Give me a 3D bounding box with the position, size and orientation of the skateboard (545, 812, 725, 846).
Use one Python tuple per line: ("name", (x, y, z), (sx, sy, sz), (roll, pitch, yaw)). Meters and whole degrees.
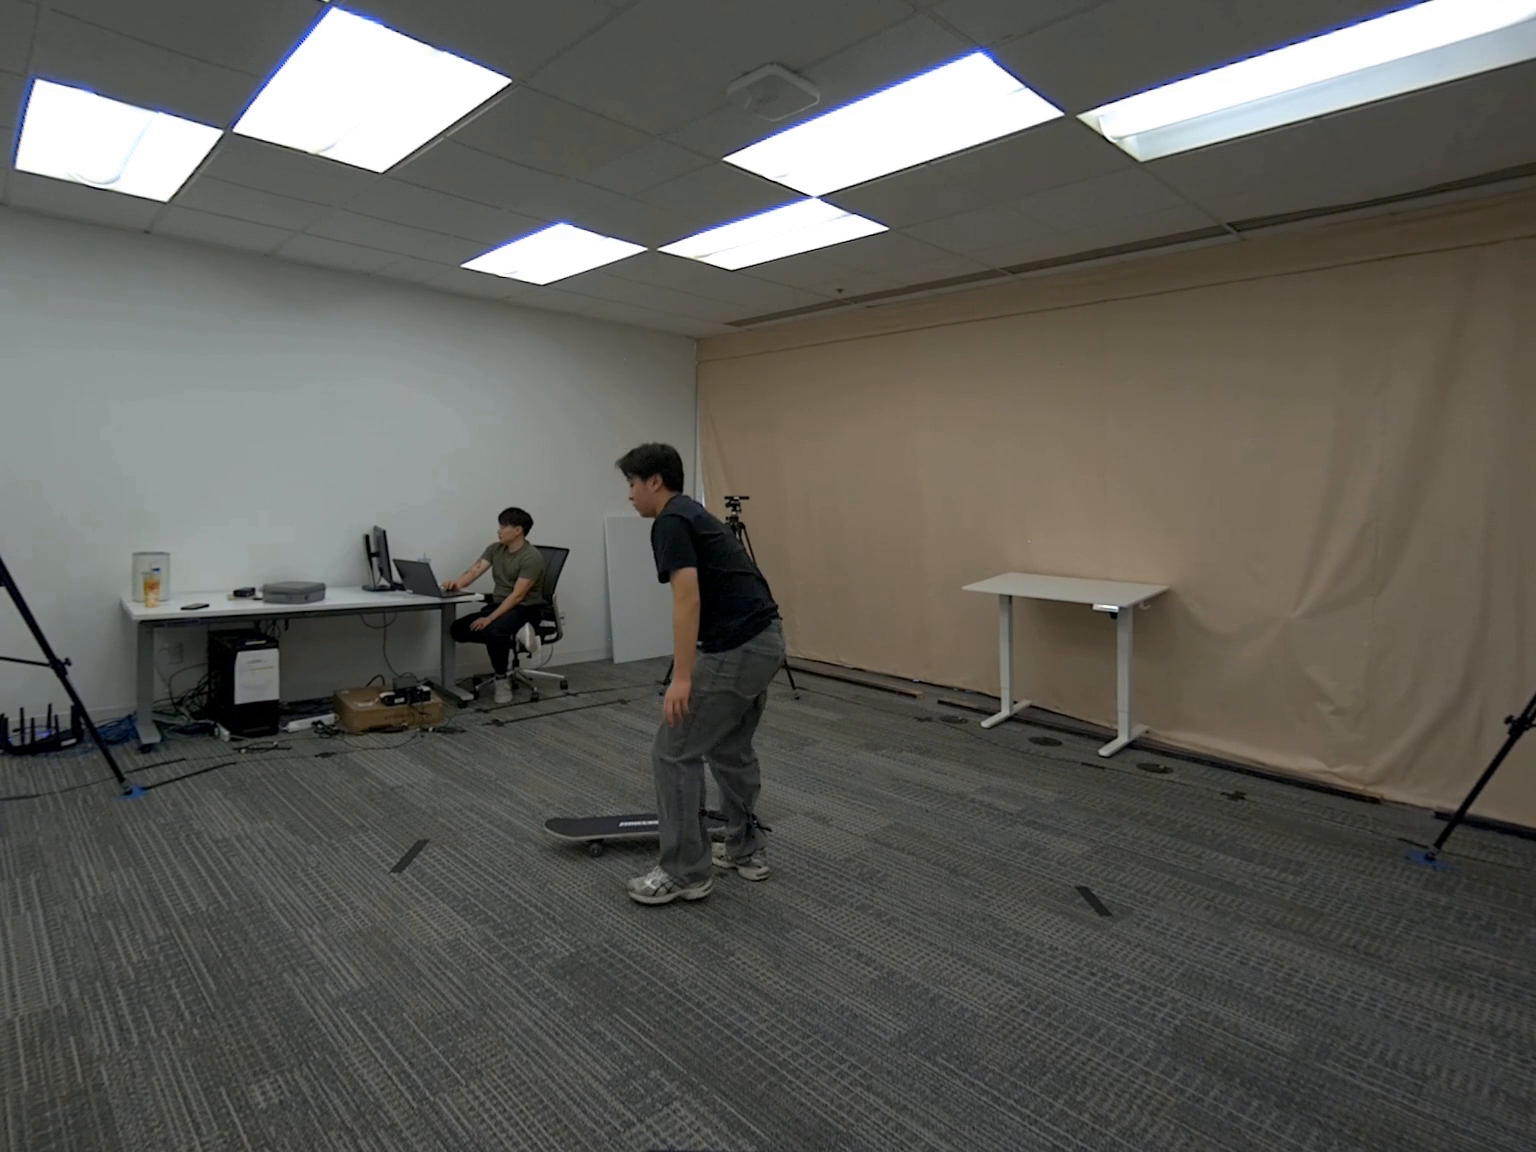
("skateboard", (-0.490, 1.010, 3.344), (0.778, 0.110, 0.196), (0, 4, -12))
